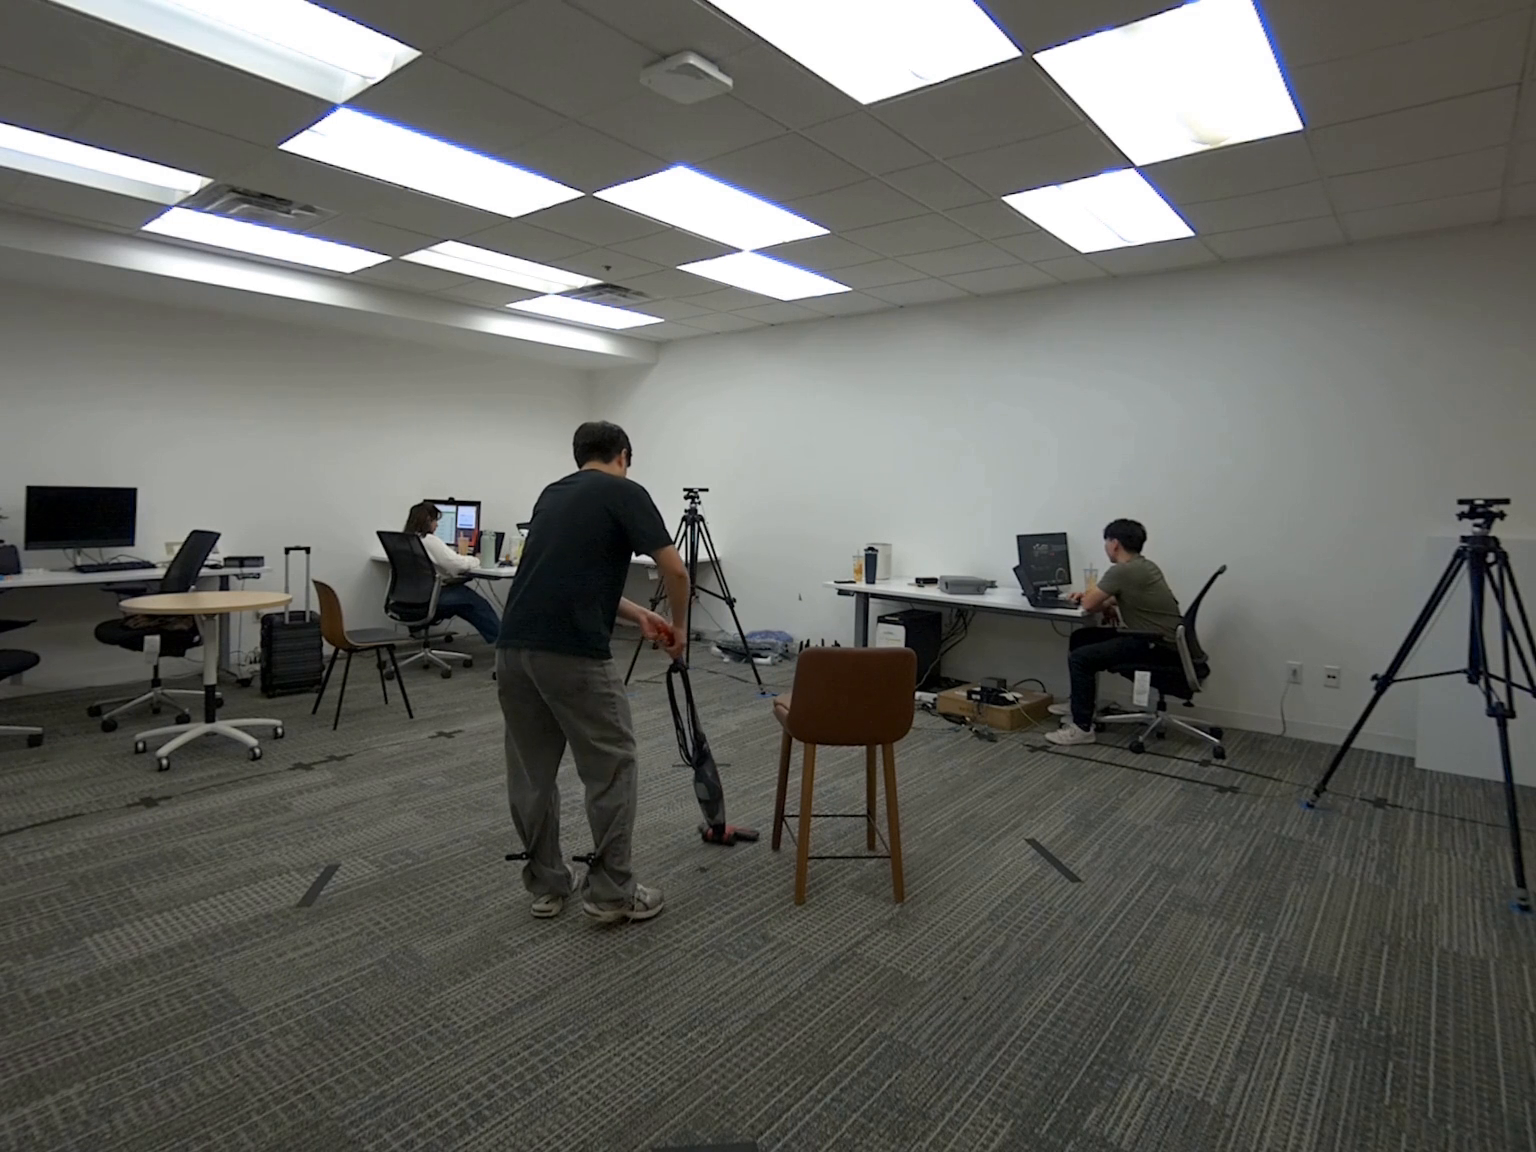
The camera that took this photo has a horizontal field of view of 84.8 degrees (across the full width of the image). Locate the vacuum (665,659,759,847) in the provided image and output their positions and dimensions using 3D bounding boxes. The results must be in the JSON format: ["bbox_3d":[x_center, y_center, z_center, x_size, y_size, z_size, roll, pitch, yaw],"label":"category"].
[{"bbox_3d":[-0.279,0.605,3.139,0.259,1.018,0.144,5,34,27],"label":"vacuum"}]
